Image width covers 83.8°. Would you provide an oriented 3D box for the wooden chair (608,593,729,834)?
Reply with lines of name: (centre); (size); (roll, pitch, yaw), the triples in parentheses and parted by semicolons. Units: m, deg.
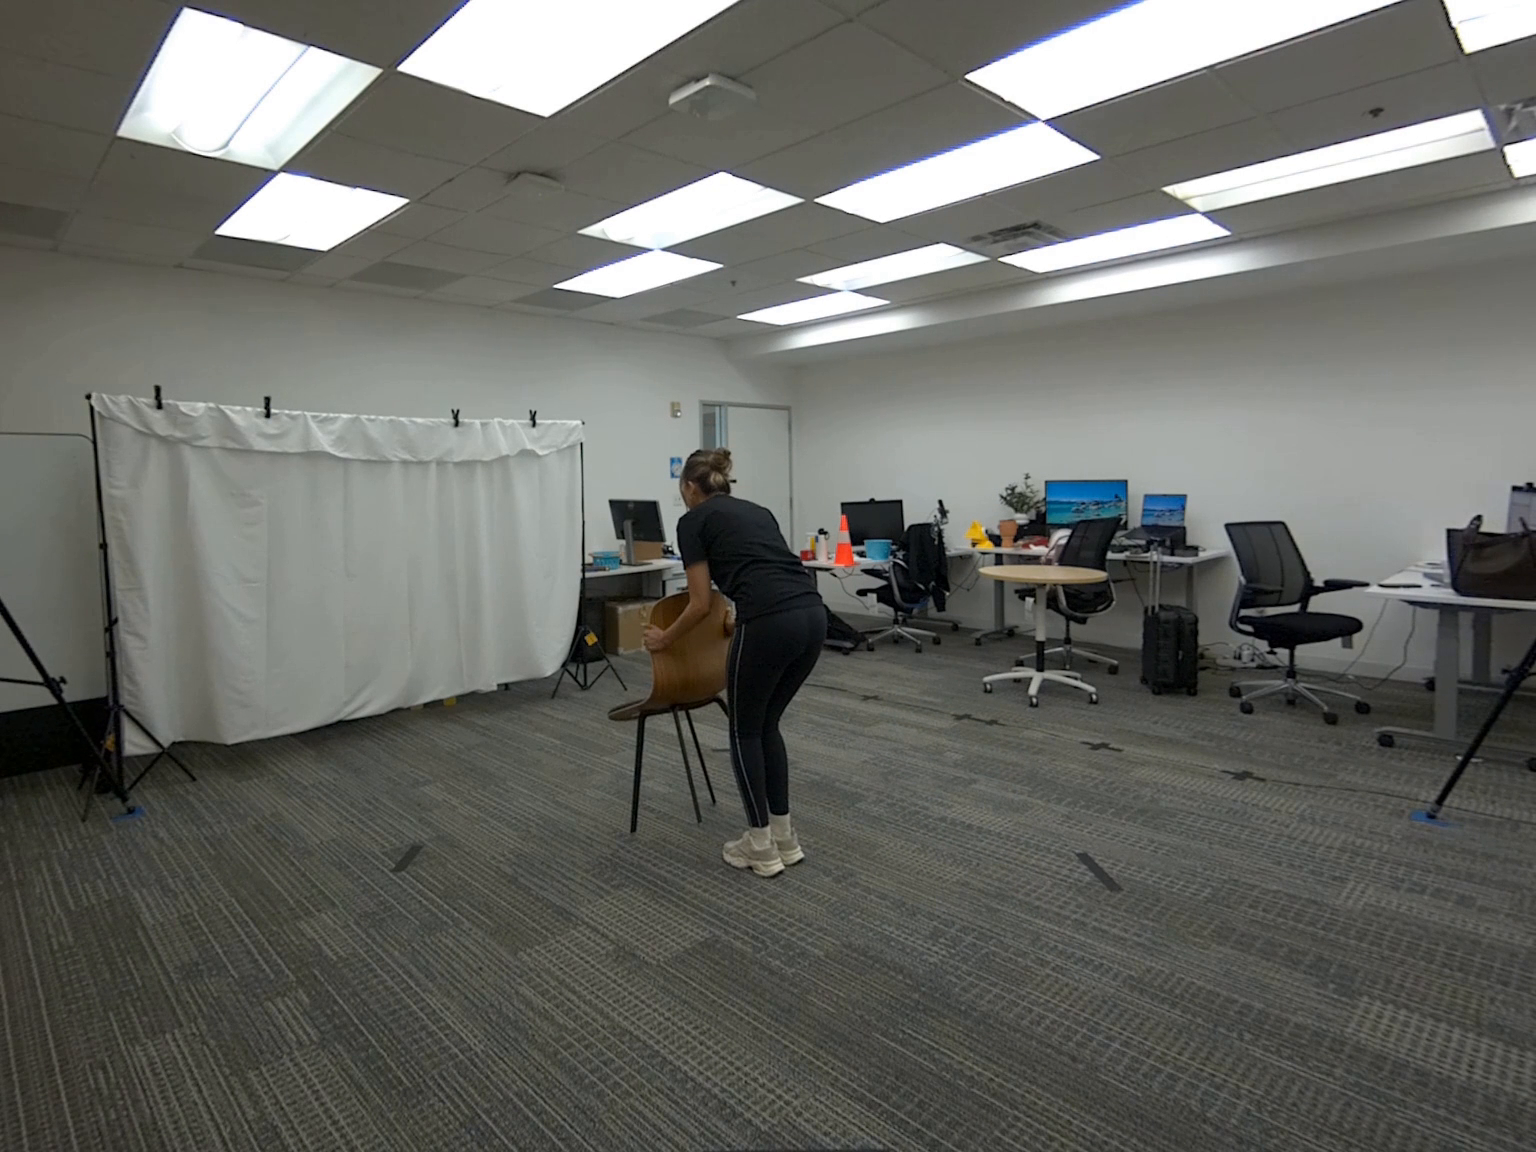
wooden chair: (-0.360, 0.535, 3.482); (0.465, 0.886, 0.532); (-5, -11, -44)
